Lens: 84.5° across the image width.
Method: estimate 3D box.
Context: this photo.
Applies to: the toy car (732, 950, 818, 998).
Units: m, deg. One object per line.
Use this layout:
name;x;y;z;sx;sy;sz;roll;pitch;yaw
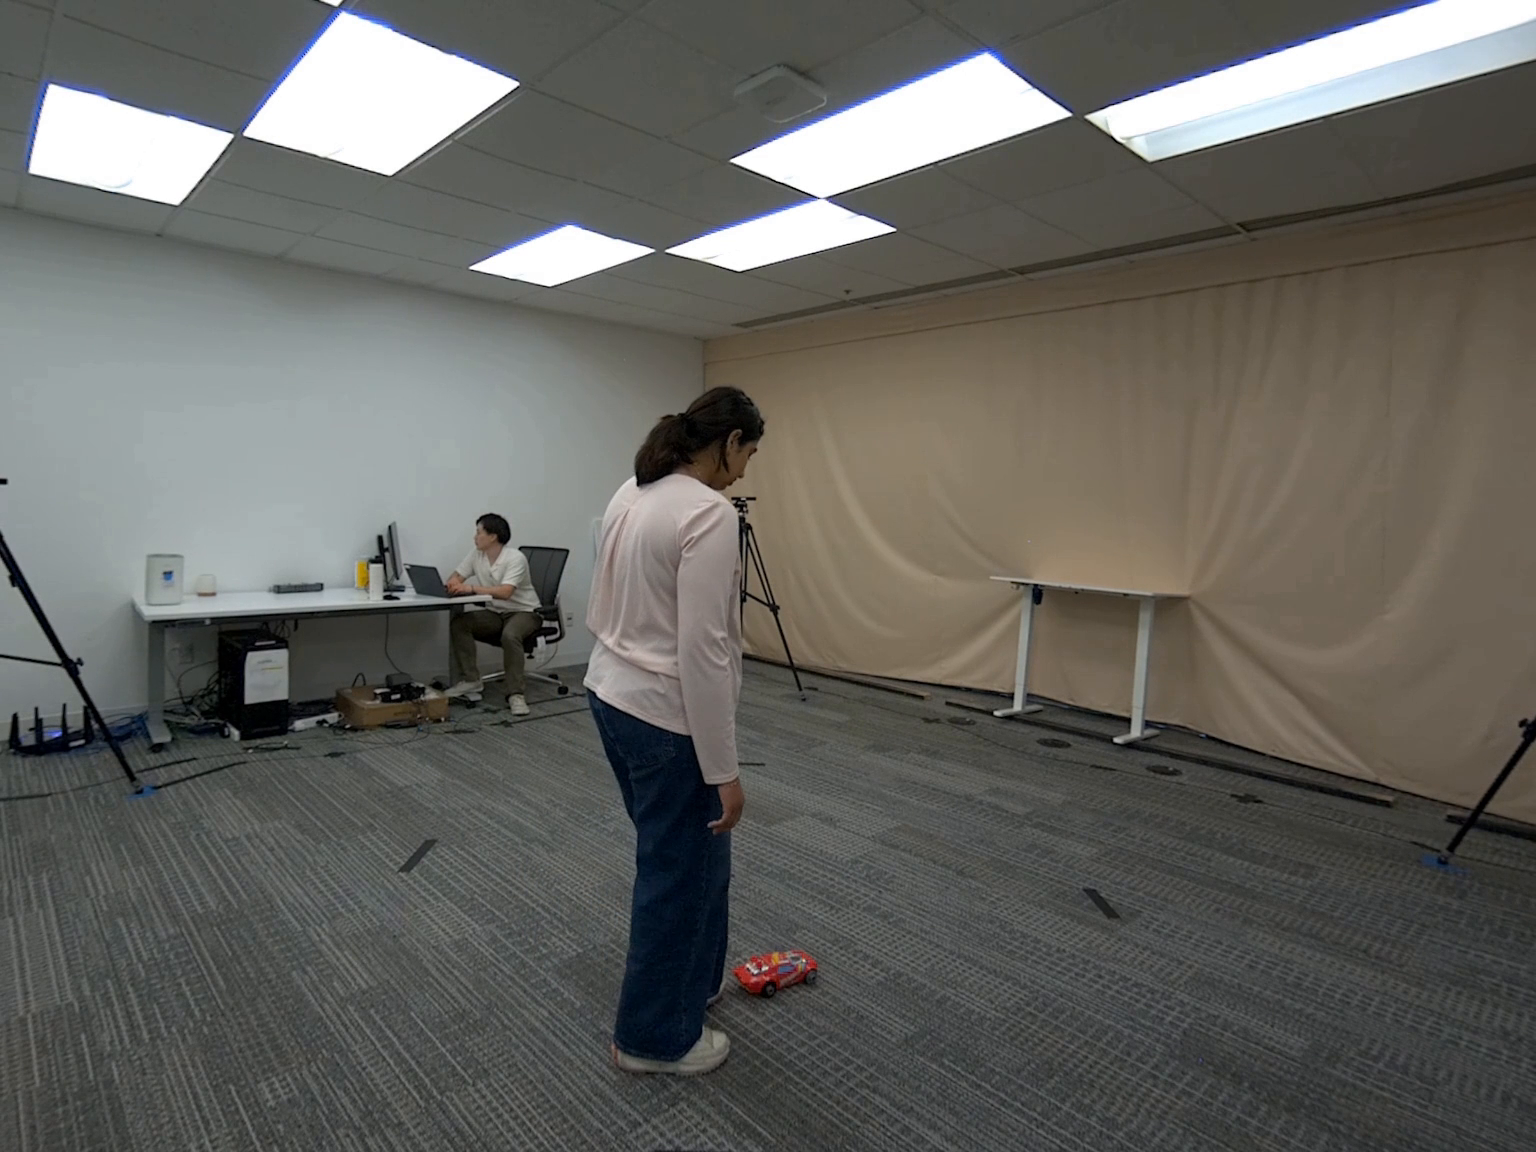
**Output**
toy car;0.012;1.144;2.417;0.248;0.083;0.133;12;-1;-31
